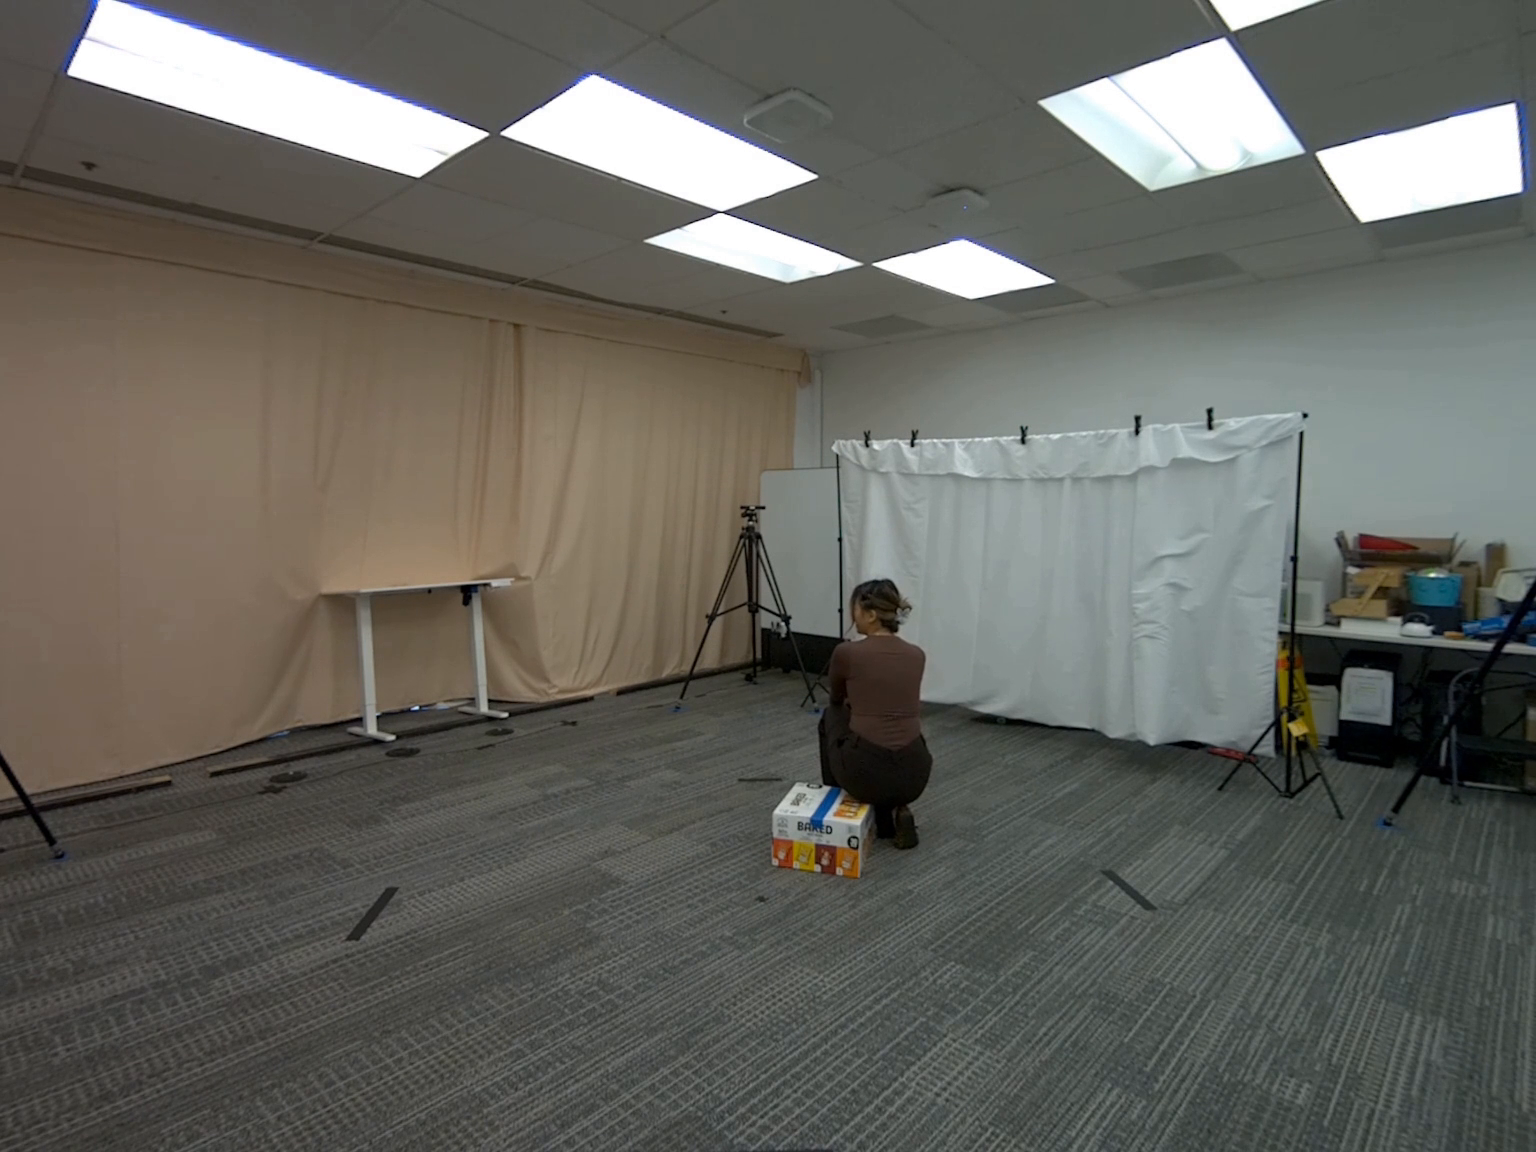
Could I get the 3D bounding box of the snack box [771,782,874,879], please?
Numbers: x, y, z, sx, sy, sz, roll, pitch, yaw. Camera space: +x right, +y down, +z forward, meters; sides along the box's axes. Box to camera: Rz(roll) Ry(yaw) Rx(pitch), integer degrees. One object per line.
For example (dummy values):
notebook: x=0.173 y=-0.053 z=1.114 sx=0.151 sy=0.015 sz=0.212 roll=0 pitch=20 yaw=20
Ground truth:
snack box: x=0.234 y=1.009 z=3.384 sx=0.347 sy=0.205 sz=0.398 roll=2 pitch=4 yaw=17
